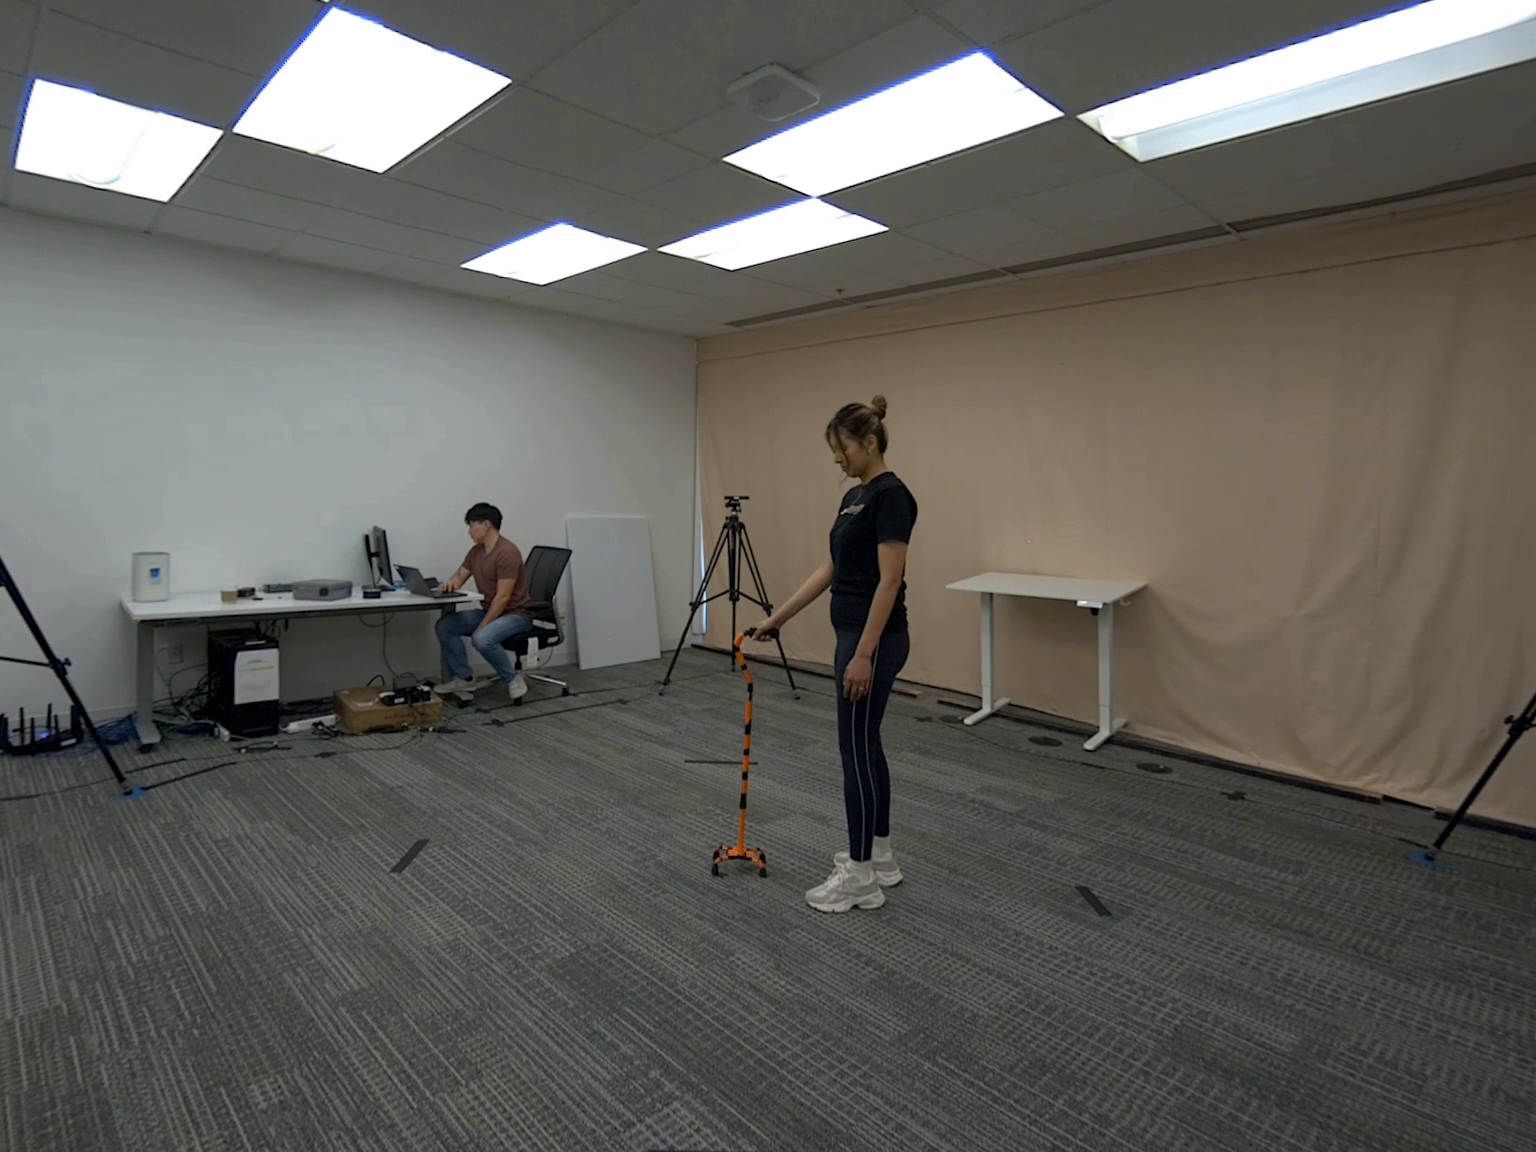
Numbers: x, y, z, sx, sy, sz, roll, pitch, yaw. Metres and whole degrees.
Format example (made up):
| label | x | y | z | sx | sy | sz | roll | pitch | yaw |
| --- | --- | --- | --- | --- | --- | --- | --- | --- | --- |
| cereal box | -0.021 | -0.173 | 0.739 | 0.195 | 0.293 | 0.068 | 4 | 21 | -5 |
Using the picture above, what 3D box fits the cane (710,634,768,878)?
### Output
| label | x | y | z | sx | sy | sz | roll | pitch | yaw |
| --- | --- | --- | --- | --- | --- | --- | --- | --- | --- |
| cane | -0.092 | 0.639 | 3.139 | 0.206 | 0.905 | 0.152 | 3 | 4 | -1 |
